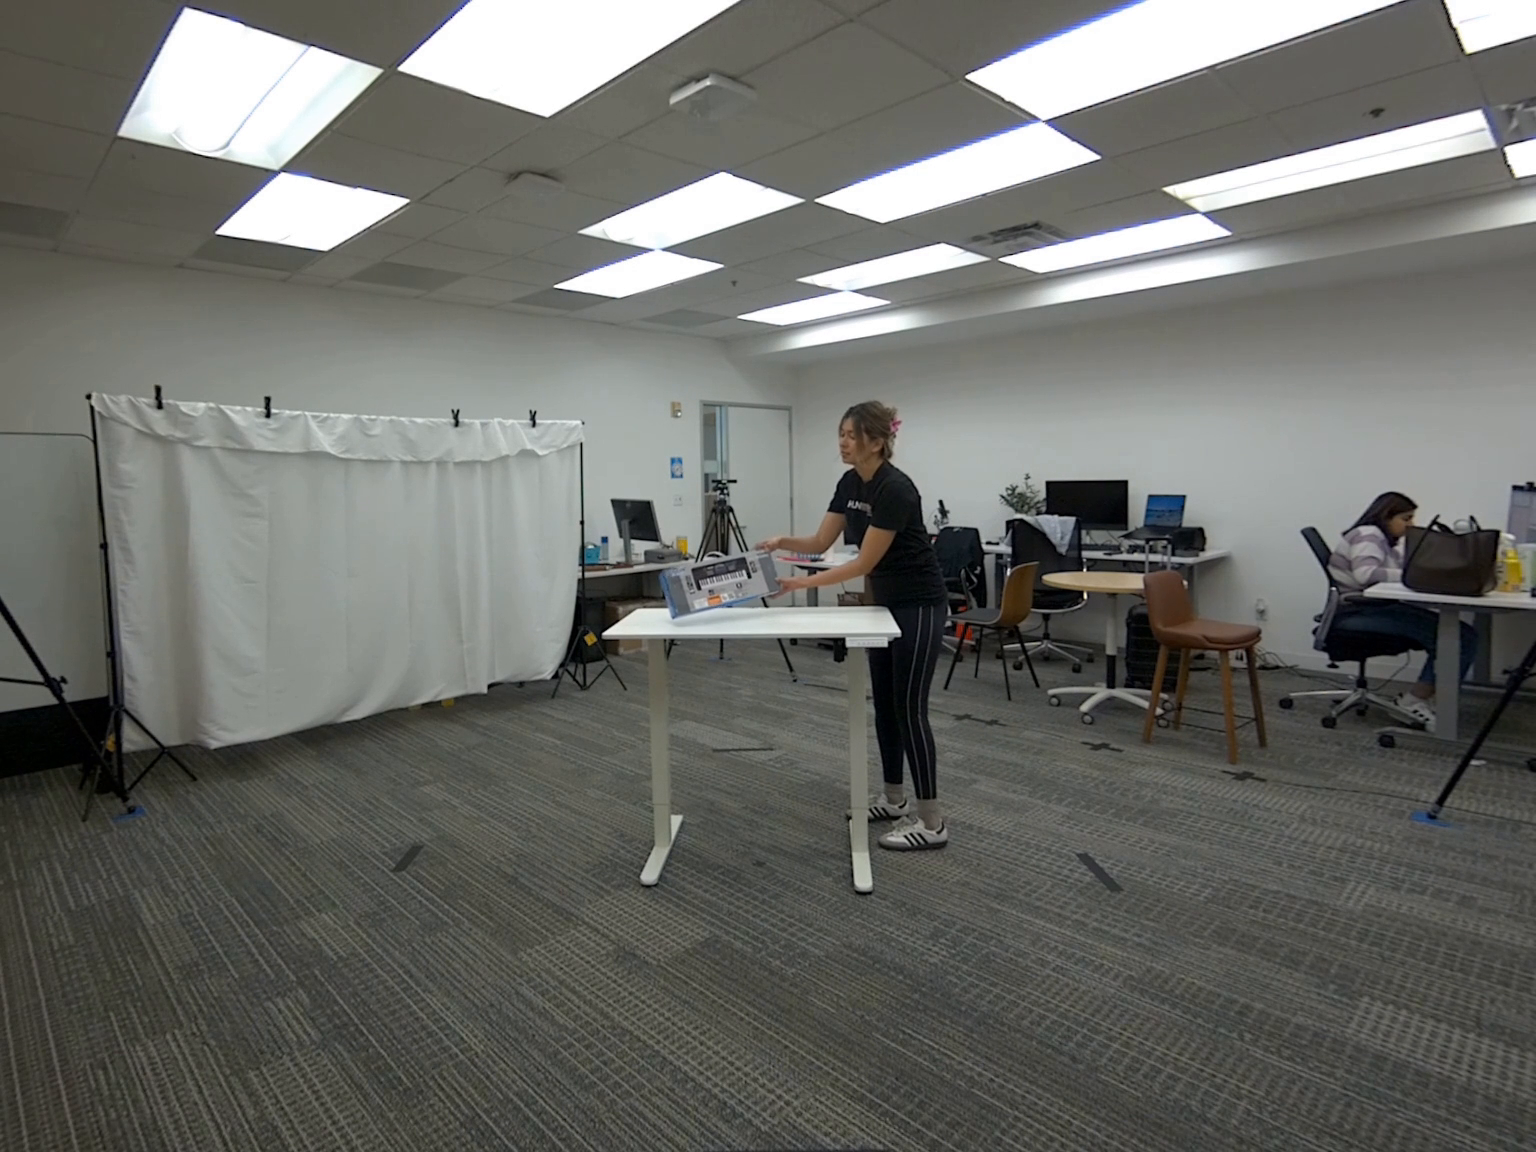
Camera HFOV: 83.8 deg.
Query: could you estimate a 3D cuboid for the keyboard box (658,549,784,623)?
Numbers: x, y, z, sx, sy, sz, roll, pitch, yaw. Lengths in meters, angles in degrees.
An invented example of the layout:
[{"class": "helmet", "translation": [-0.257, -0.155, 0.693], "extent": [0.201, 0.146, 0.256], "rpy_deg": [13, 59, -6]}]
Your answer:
[{"class": "keyboard box", "translation": [-0.171, 0.028, 3.138], "extent": [0.429, 0.178, 0.059], "rpy_deg": [-13, -13, -26]}]
